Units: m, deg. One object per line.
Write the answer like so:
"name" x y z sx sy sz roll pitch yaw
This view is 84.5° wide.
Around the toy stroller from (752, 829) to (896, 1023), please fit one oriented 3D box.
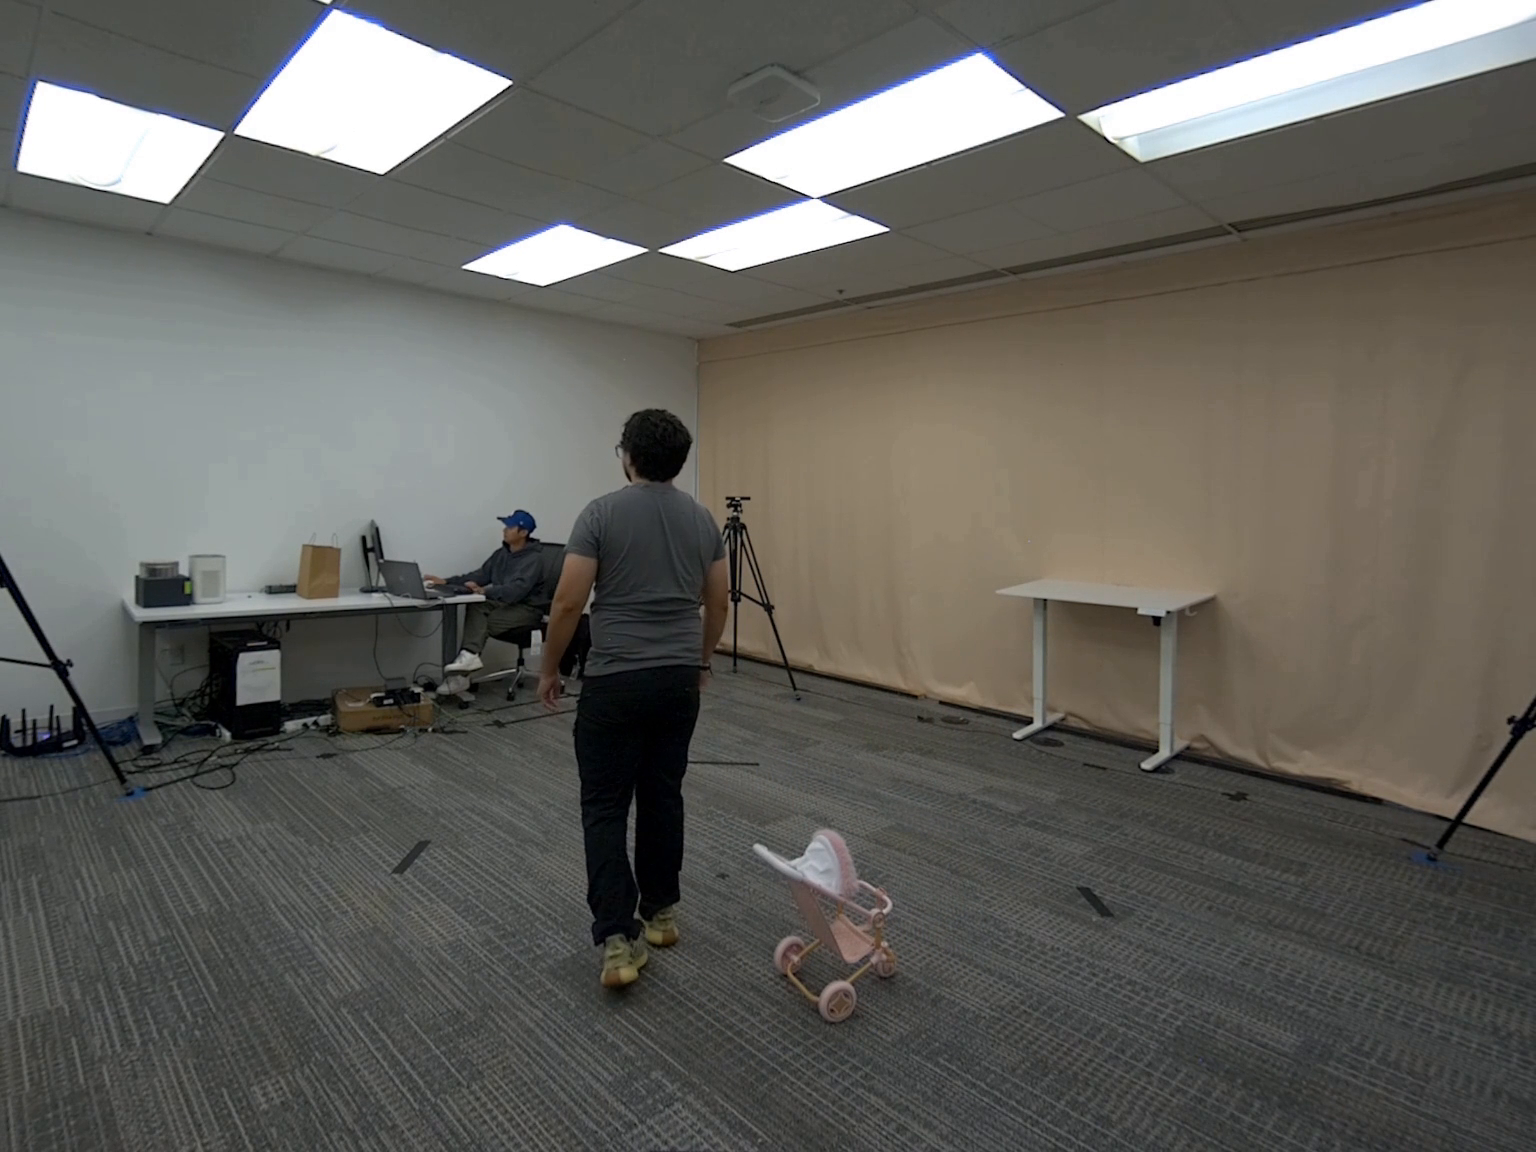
"toy stroller" 0.183 0.957 2.371 0.337 0.530 0.287 -17 10 -23
